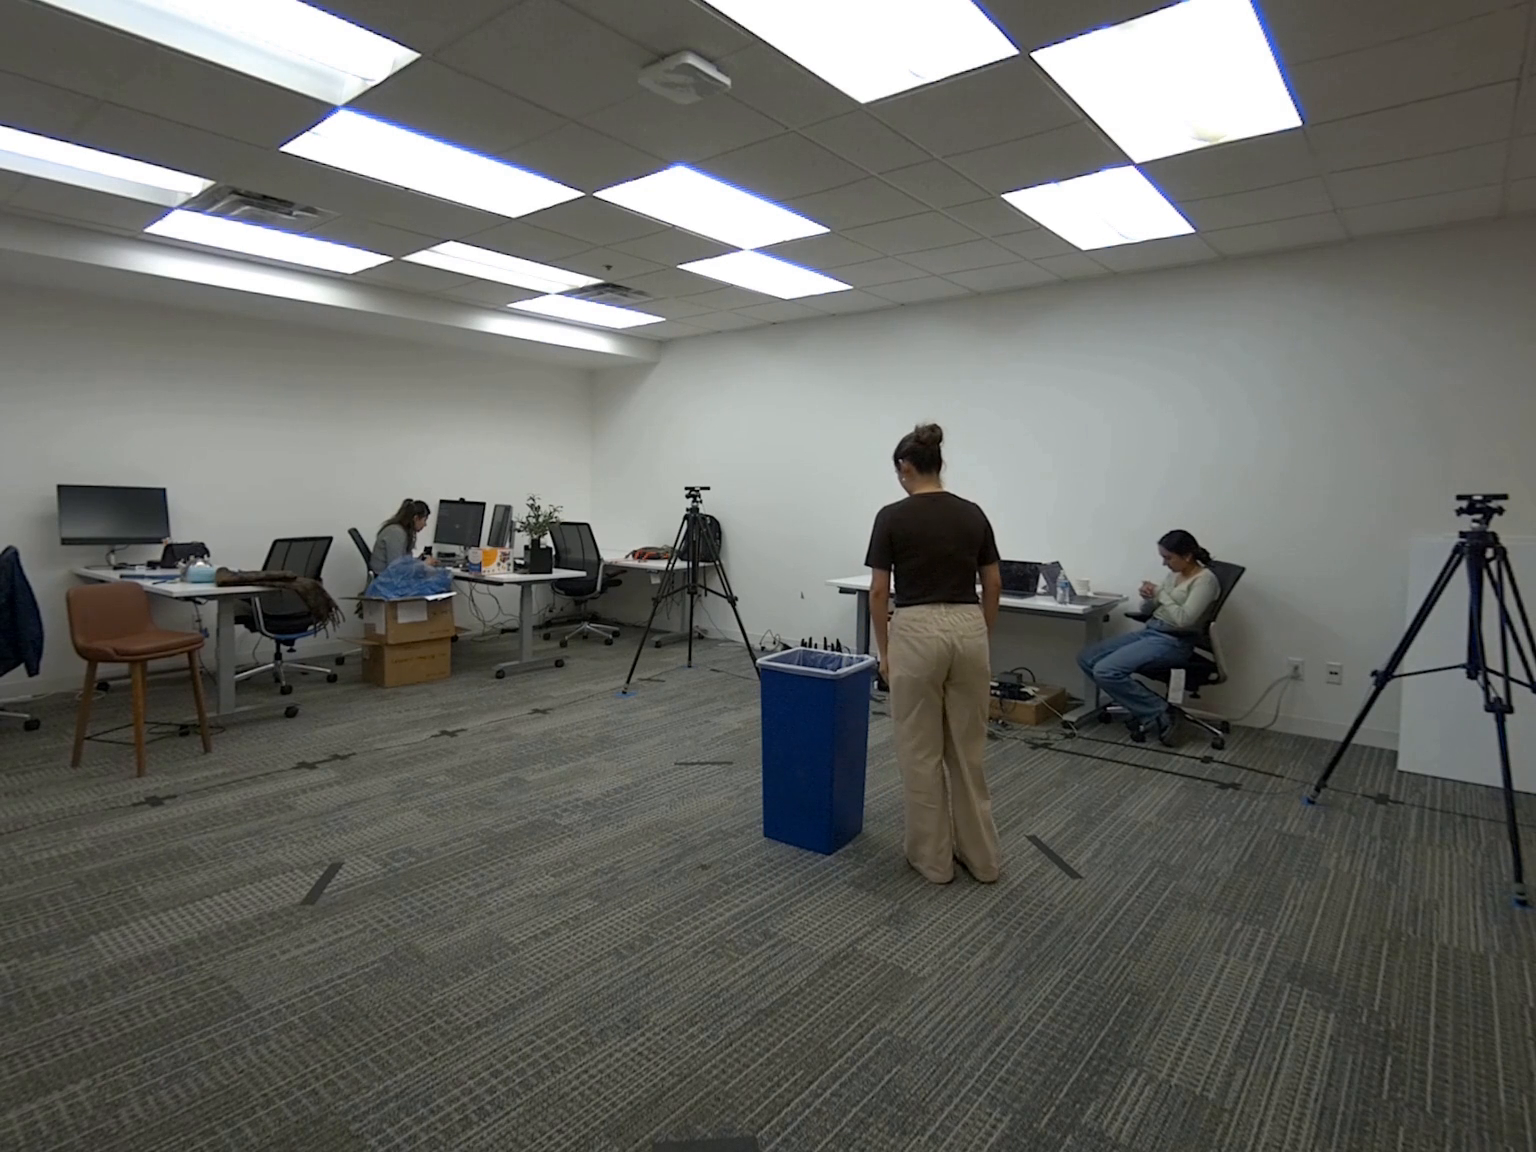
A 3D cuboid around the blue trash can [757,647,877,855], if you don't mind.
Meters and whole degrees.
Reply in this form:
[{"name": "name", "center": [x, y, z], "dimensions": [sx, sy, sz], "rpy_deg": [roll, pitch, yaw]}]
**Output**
[{"name": "blue trash can", "center": [0.177, 0.682, 3.412], "dimensions": [0.390, 0.712, 0.364], "rpy_deg": [3, 3, 34]}]
